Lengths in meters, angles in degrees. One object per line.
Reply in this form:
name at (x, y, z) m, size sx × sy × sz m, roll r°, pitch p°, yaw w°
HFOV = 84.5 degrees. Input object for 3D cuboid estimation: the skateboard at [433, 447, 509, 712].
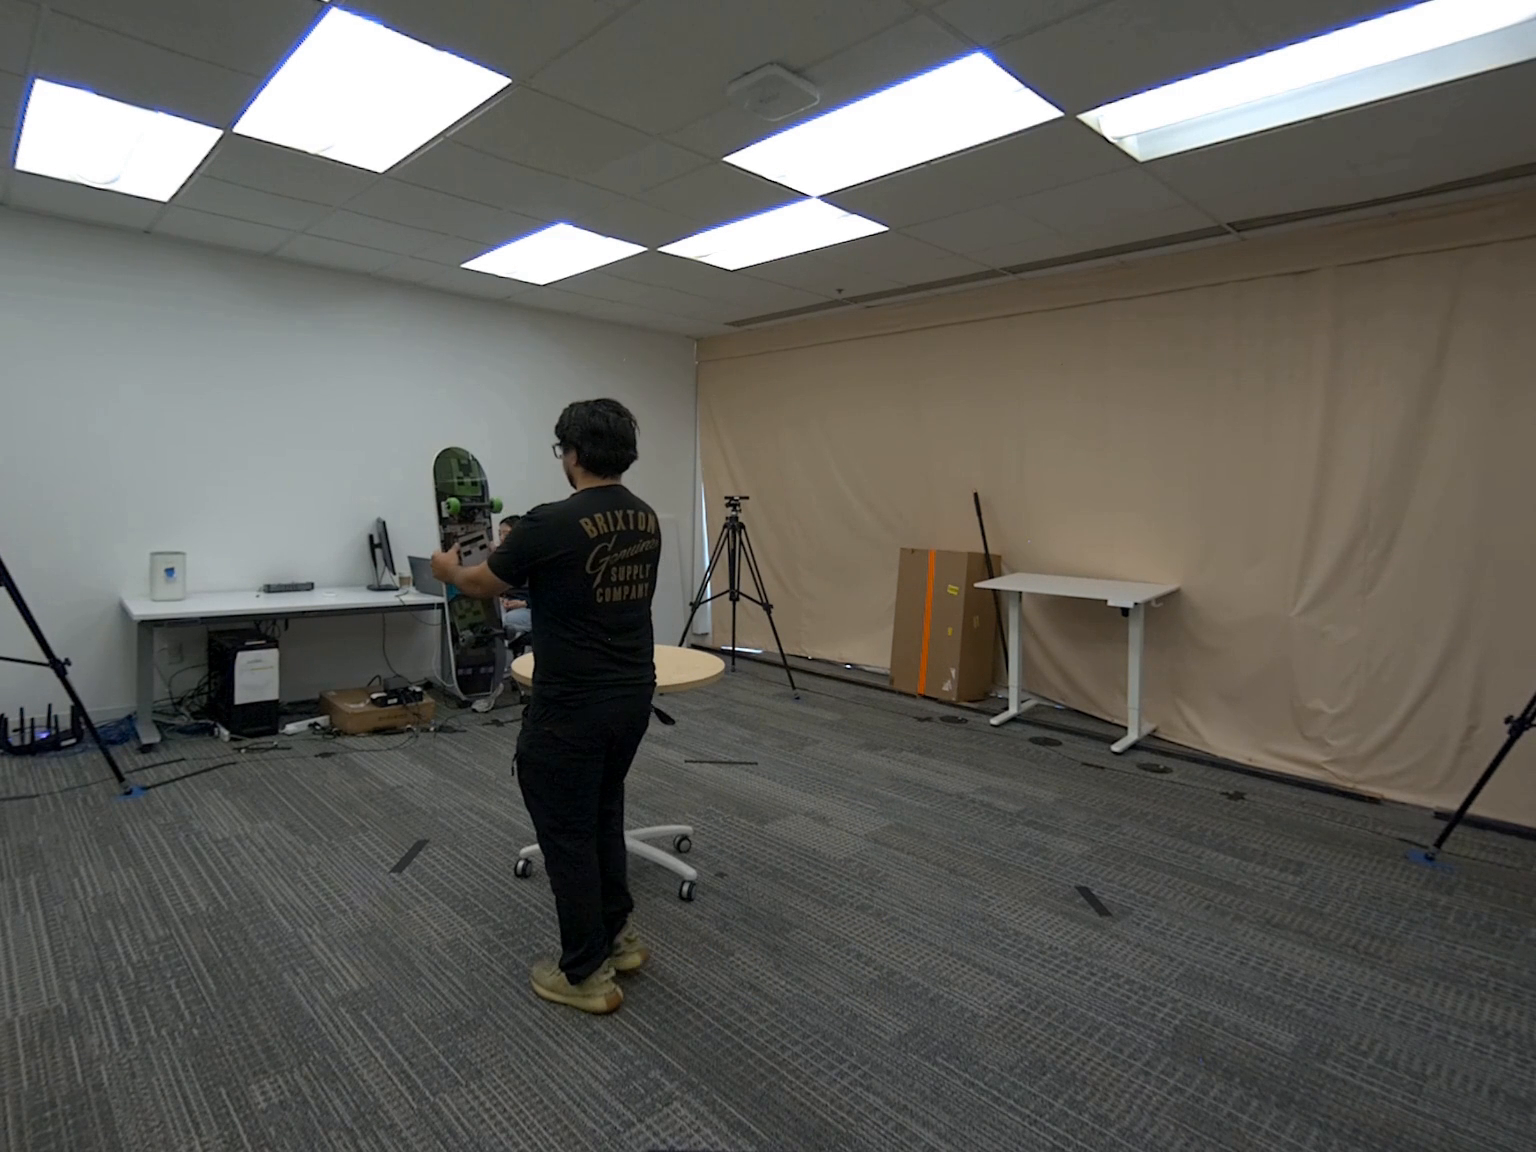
skateboard at (-0.903, -0.008, 2.581) m, size 0.112 × 0.786 × 0.189 m, roll -7°, pitch -1°, yaw 37°
